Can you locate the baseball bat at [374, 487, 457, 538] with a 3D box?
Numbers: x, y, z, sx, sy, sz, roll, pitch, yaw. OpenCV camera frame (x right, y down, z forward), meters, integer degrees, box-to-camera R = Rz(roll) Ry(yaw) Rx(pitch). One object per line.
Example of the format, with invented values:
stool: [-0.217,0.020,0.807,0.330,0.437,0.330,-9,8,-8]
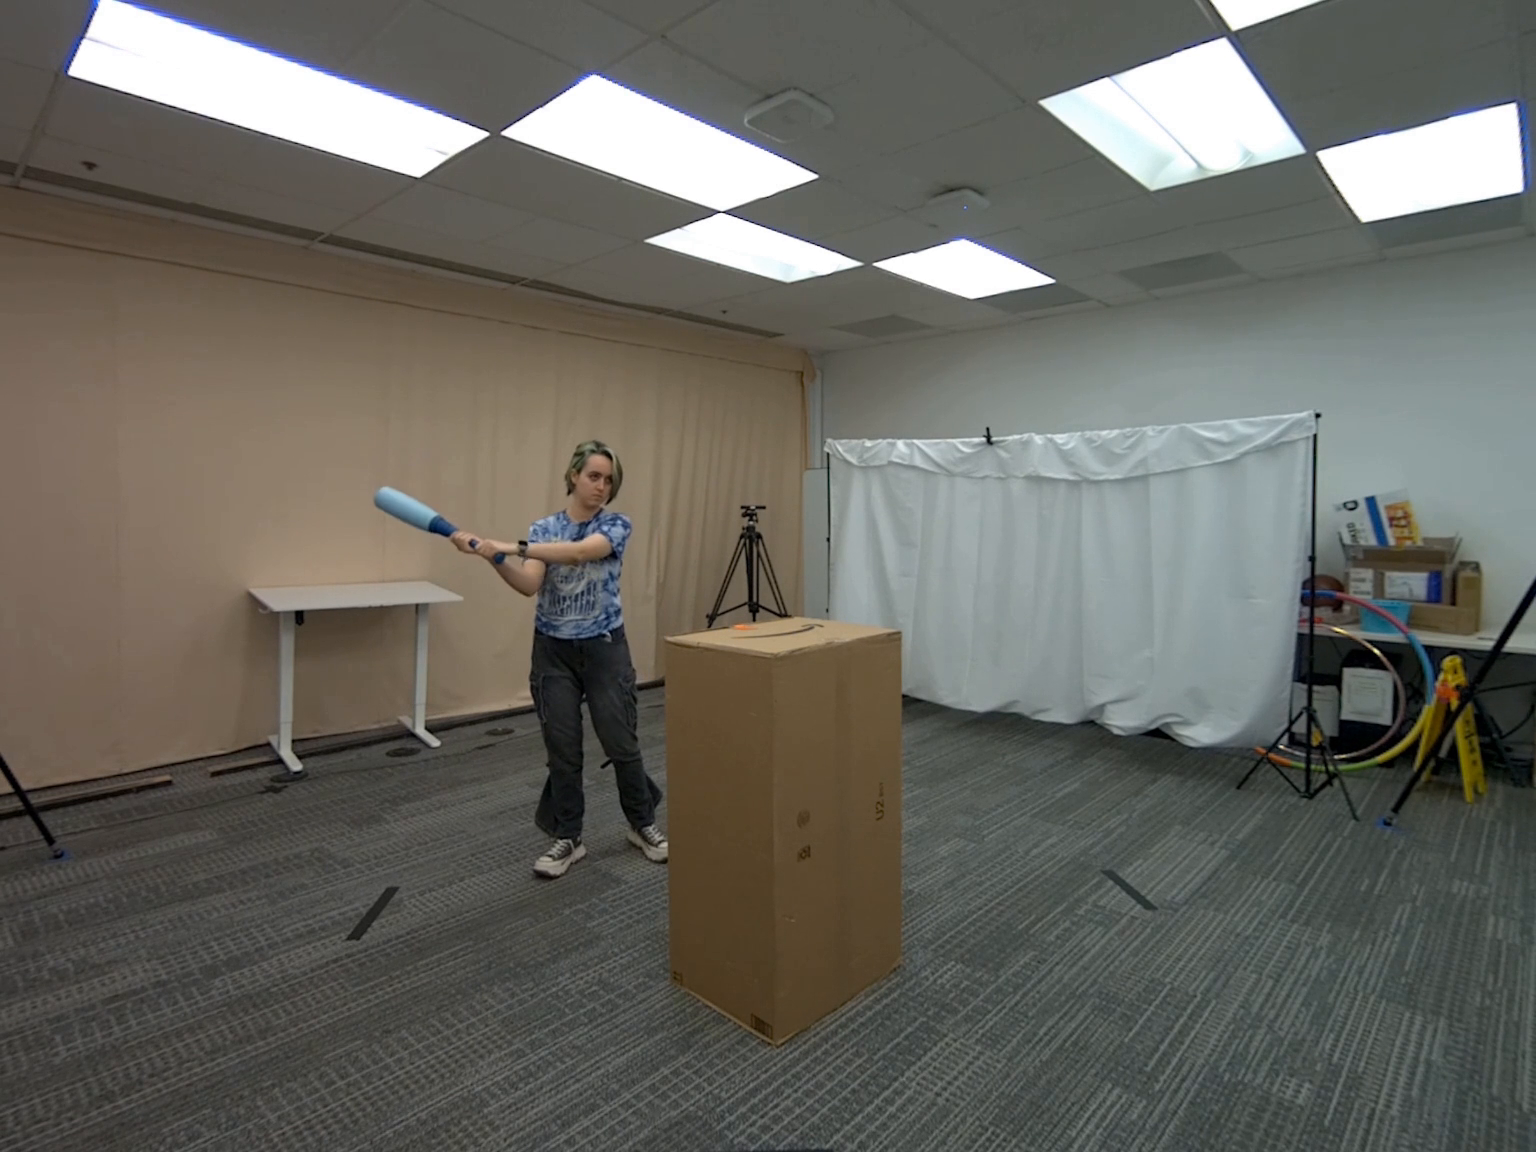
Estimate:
baseball bat: [-1.127,-0.167,2.942,0.553,0.089,0.087,25,10,15]
